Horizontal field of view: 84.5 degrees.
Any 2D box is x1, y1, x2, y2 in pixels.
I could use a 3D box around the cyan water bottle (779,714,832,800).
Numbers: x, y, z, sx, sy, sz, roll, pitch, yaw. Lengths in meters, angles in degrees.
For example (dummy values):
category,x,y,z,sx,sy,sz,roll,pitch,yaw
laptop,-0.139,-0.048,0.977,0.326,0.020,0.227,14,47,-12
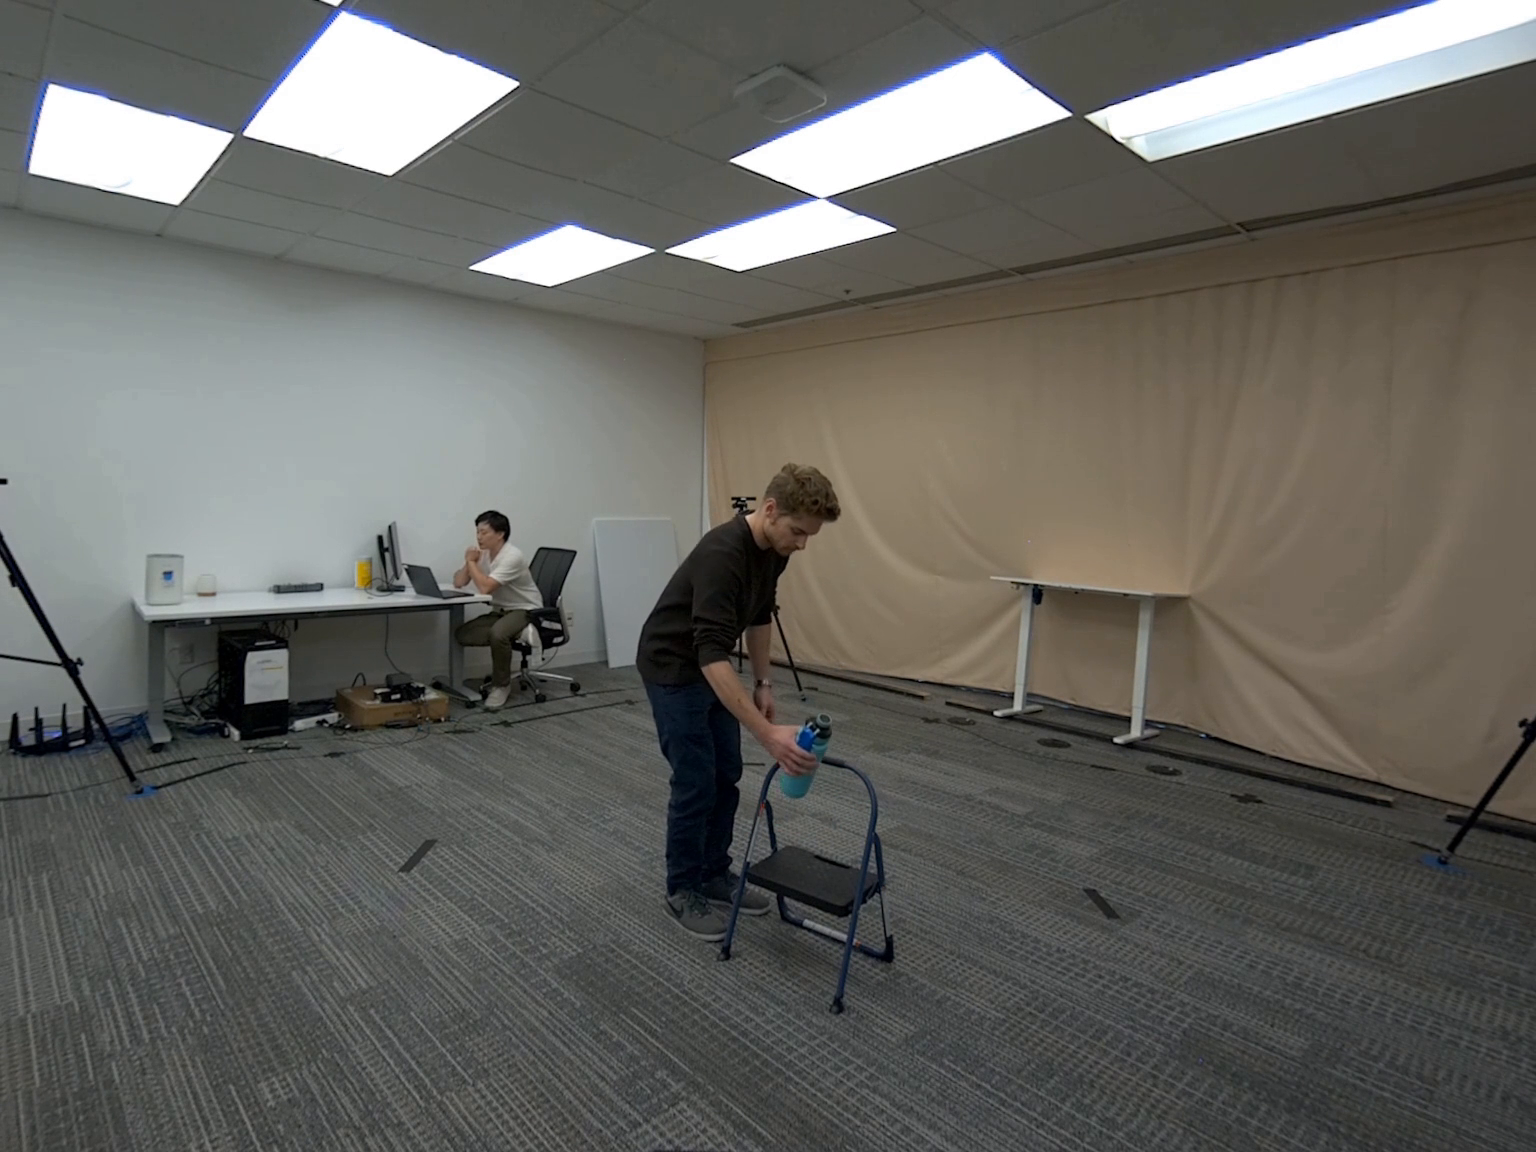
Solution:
category,x,y,z,sx,sy,sz,roll,pitch,yaw
cyan water bottle,0.099,0.497,2.342,0.092,0.279,0.094,9,37,-8
